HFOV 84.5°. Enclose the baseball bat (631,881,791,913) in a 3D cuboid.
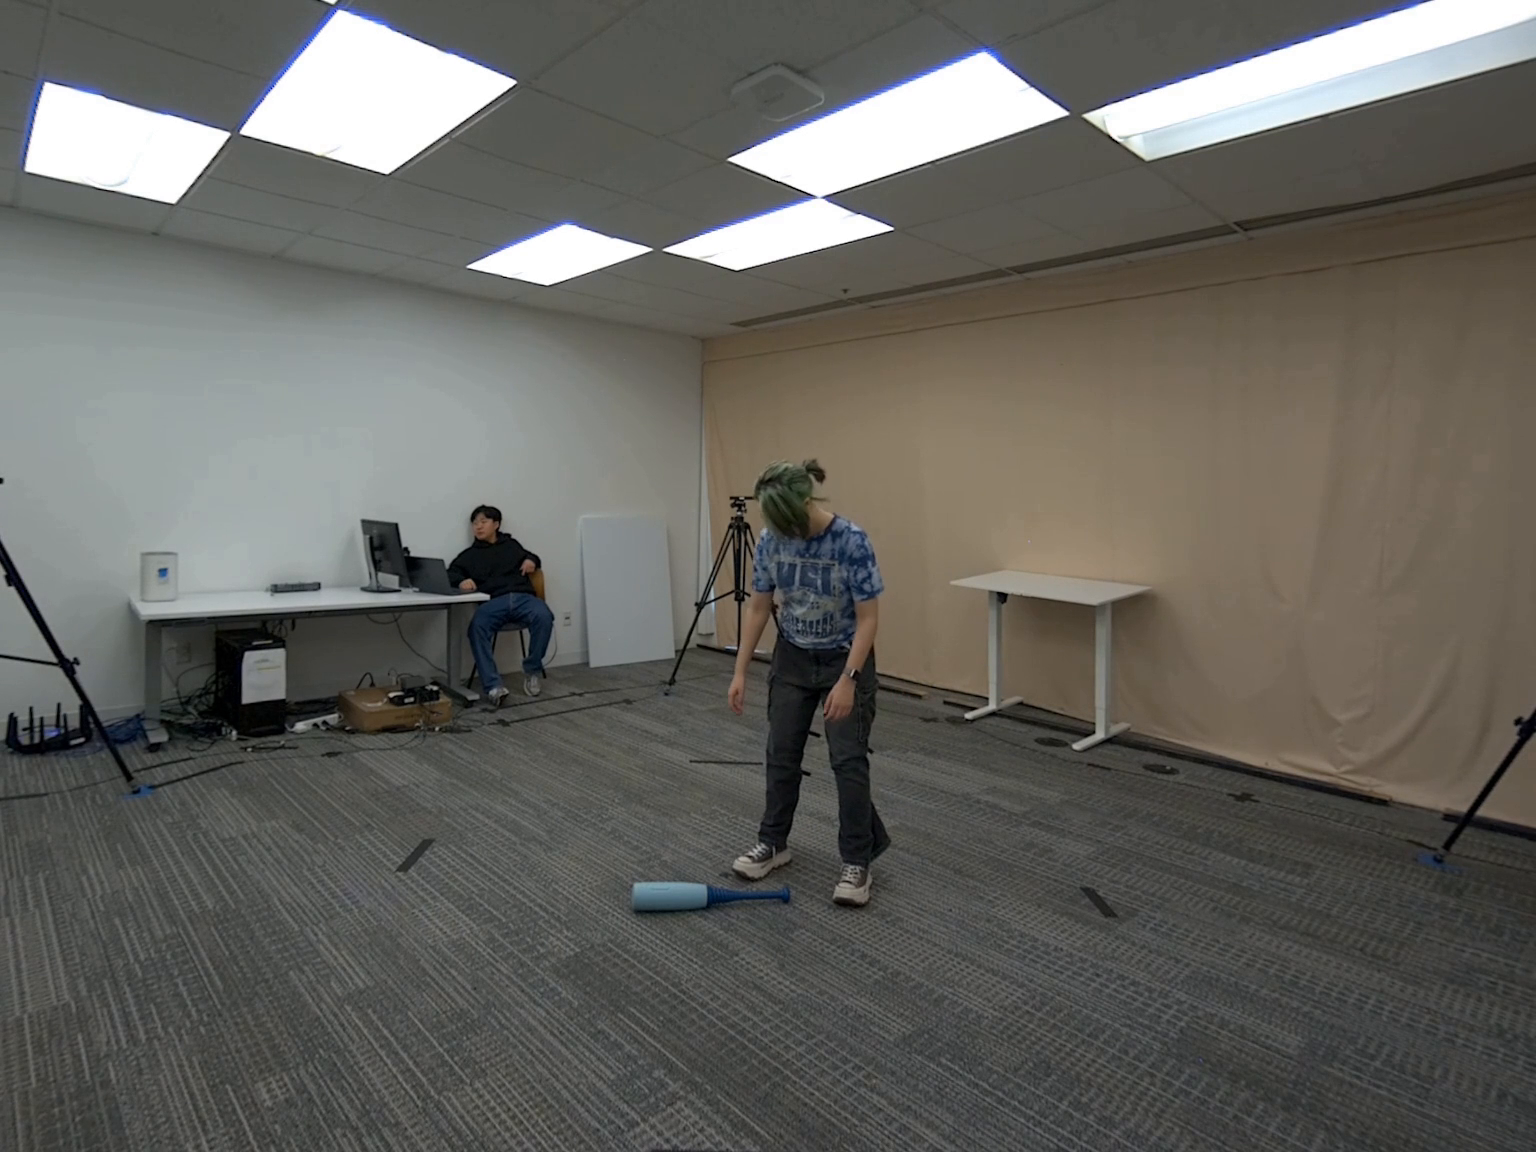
[{"bbox_3d":[-0.195,1.092,2.855,0.539,0.089,0.090,4,4,-8],"label":"baseball bat"}]
